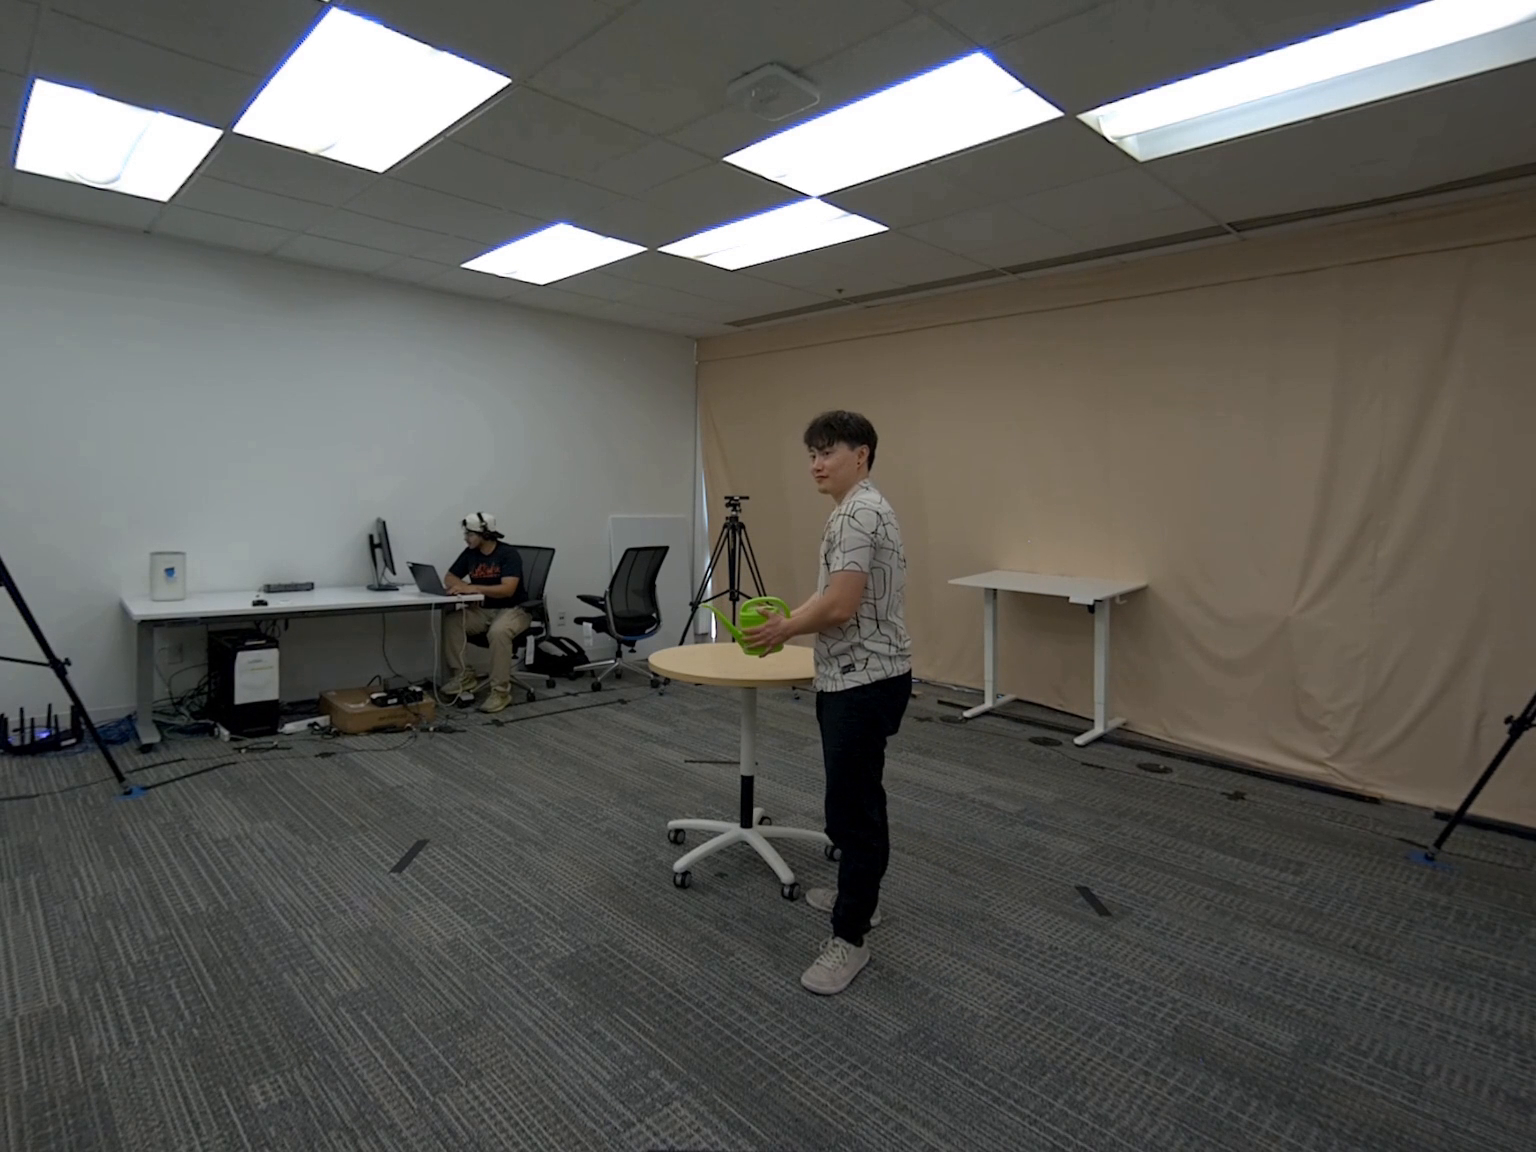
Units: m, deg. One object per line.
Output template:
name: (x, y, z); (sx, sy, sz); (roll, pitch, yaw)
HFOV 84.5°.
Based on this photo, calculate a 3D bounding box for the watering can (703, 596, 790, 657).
watering can: (-0.063, 0.157, 2.678); (0.281, 0.175, 0.098); (-1, 14, 12)
